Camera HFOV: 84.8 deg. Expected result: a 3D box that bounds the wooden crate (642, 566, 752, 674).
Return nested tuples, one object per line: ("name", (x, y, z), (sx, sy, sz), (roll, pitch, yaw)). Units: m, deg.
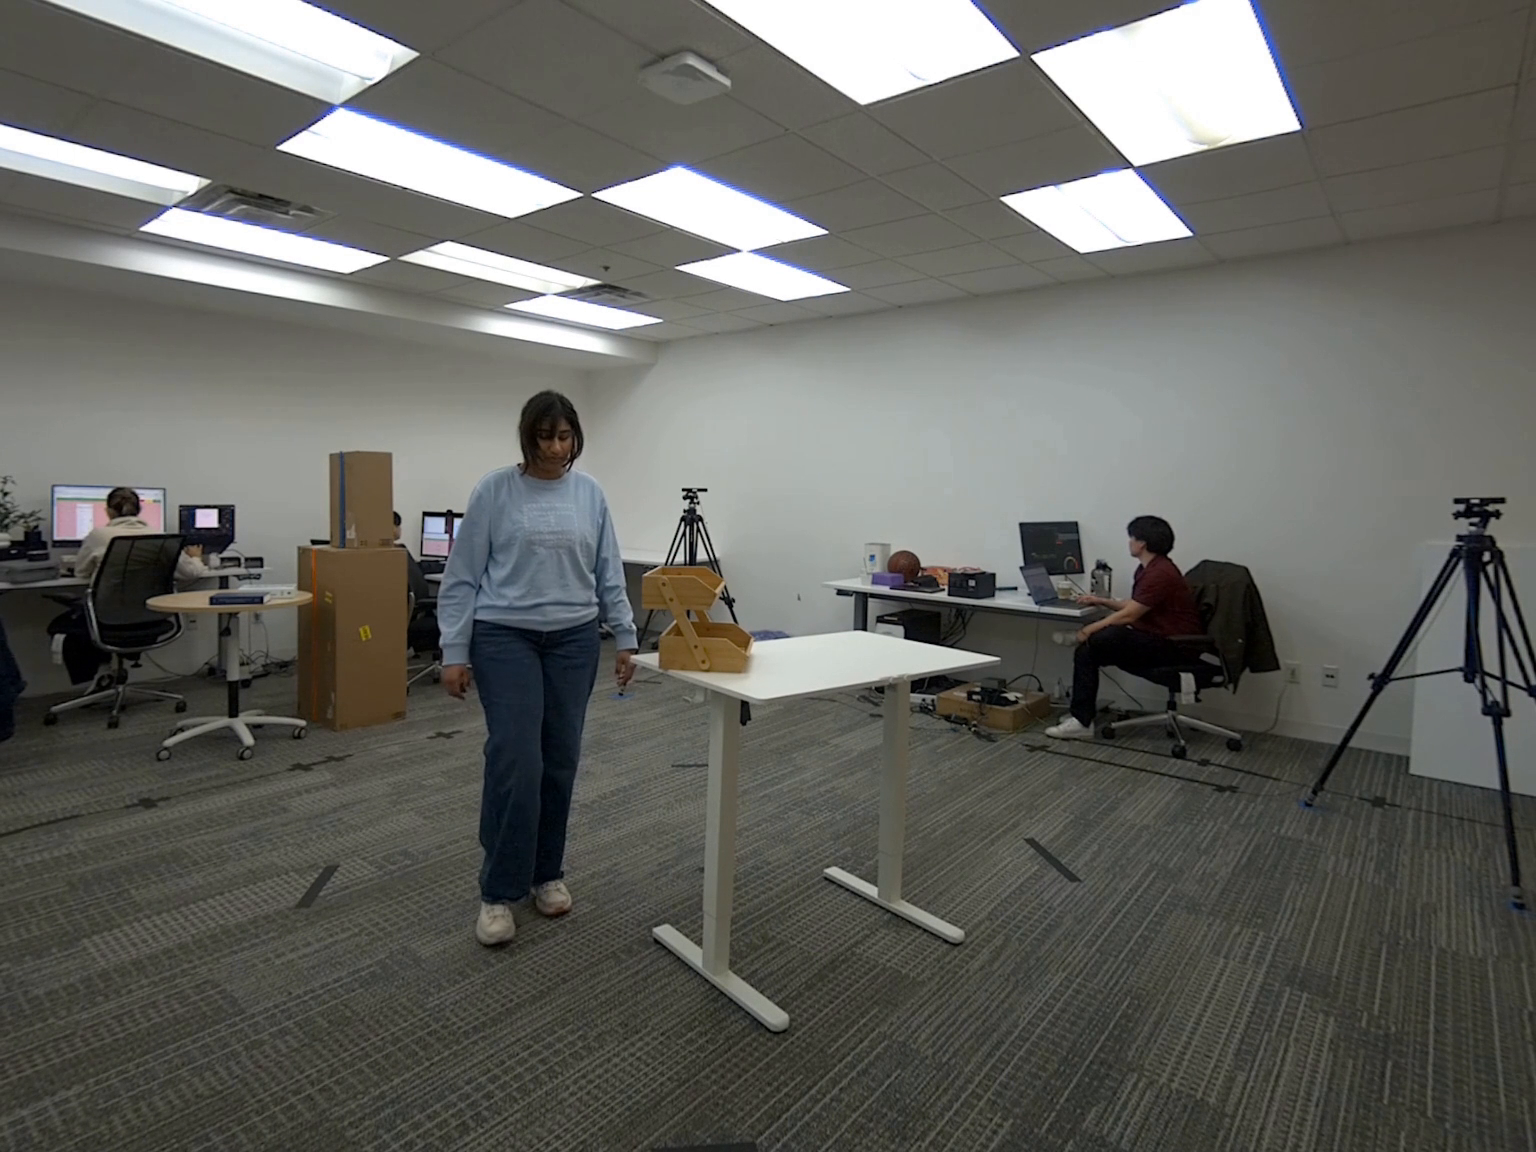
("wooden crate", (-0.191, 0.114, 2.482), (0.304, 0.272, 0.324), (2, 4, 4))
